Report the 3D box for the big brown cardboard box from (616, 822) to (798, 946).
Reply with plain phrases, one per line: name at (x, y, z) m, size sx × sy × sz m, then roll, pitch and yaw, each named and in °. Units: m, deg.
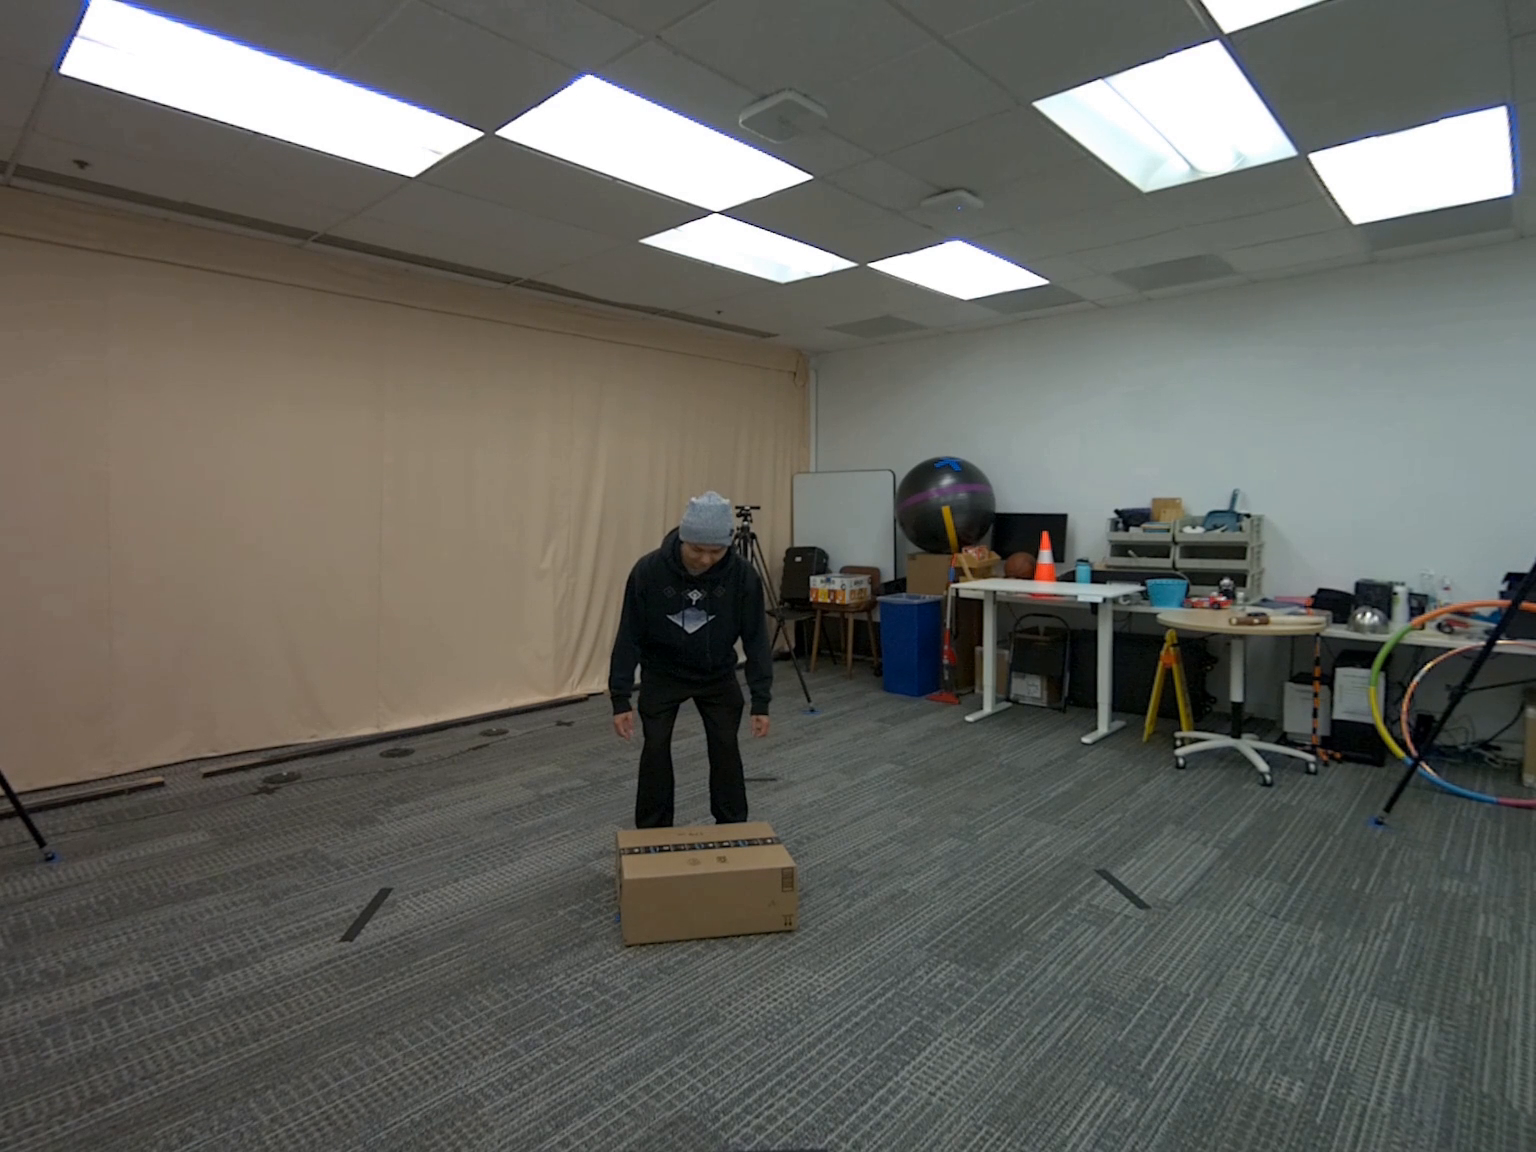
big brown cardboard box at (-0.229, 1.041, 2.900) m, size 0.583 × 0.233 × 0.423 m, roll -2°, pitch 4°, yaw -10°
